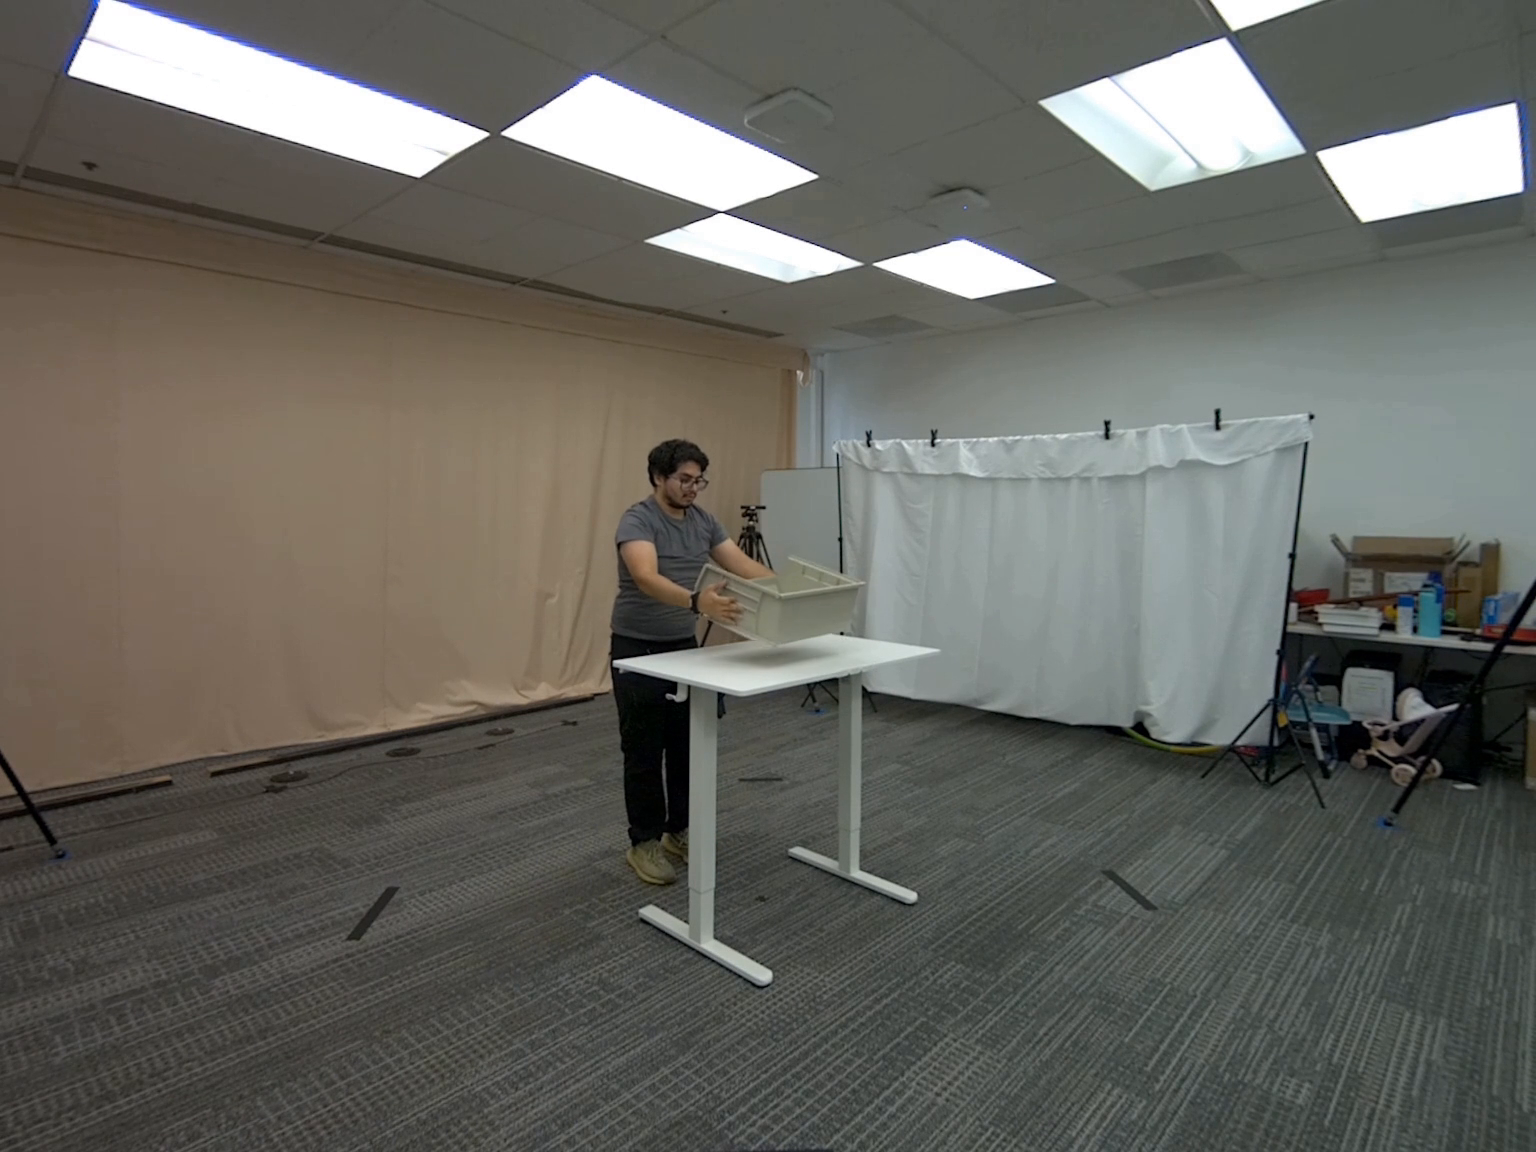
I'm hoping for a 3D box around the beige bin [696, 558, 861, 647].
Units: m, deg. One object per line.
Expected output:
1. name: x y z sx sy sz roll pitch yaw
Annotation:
1. beige bin: 0.032 0.070 2.813 0.391 0.188 0.409 23 20 40
